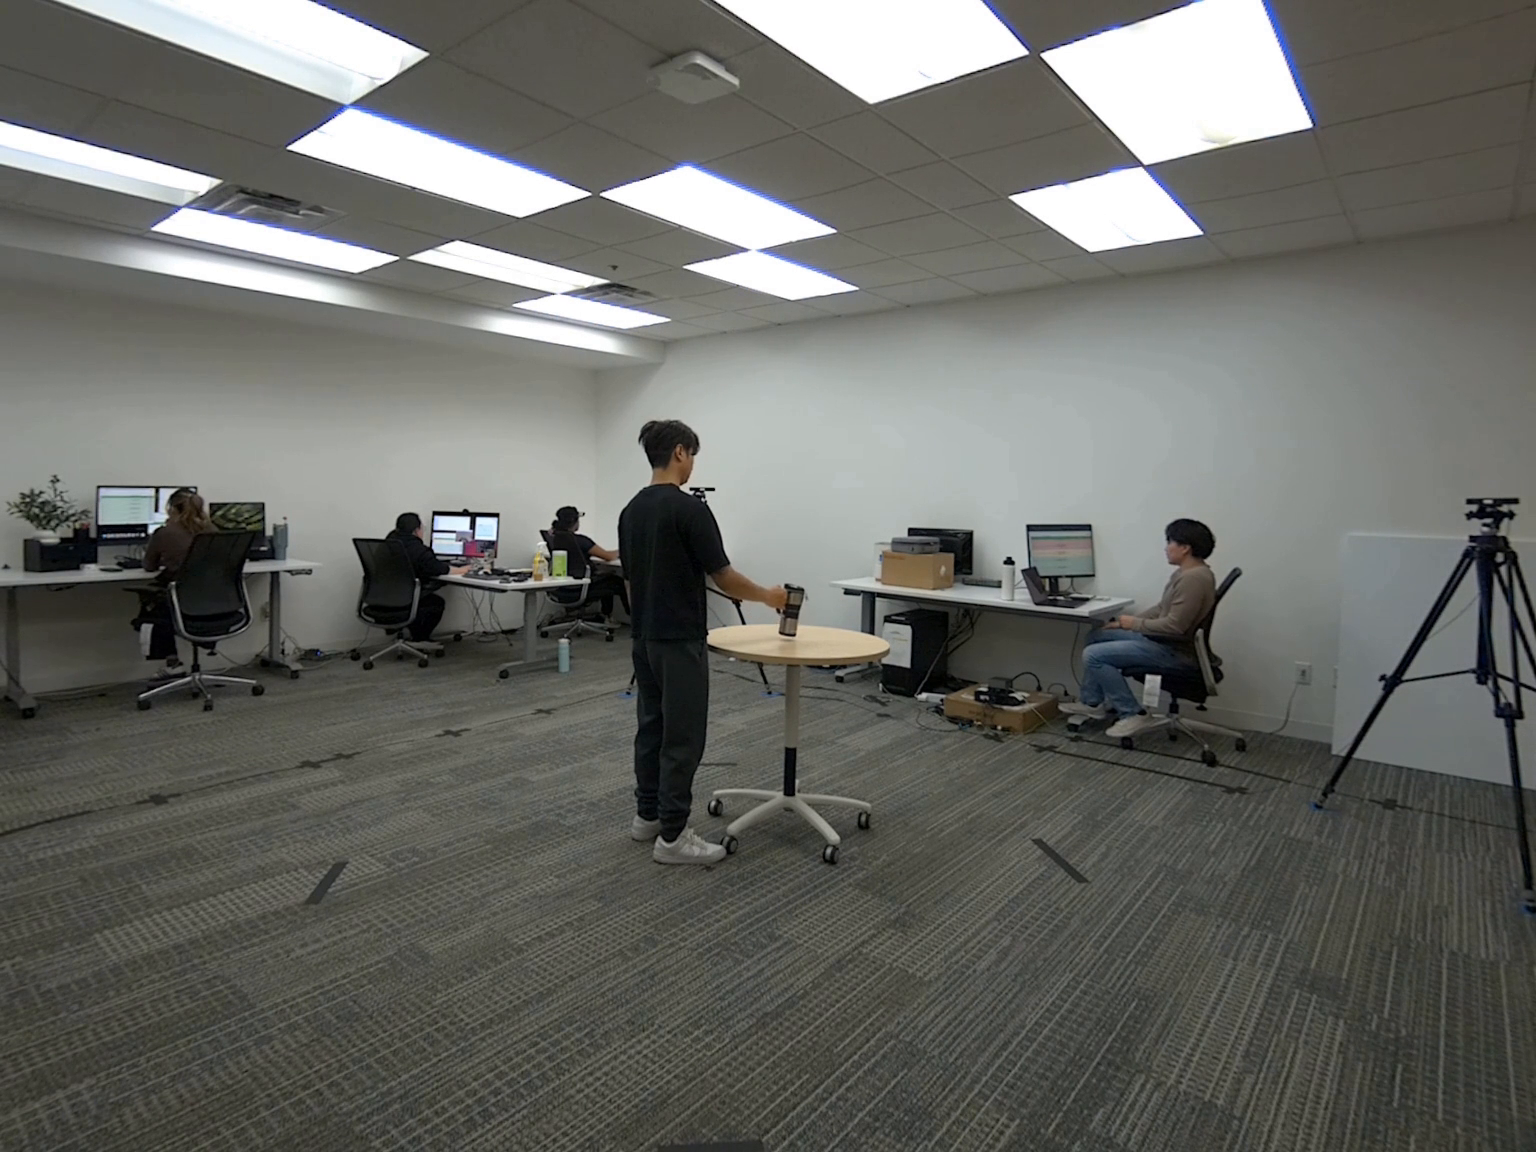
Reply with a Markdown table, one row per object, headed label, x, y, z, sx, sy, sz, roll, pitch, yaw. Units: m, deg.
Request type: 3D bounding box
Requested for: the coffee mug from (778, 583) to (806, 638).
| label | x | y | z | sx | sy | sz | roll | pitch | yaw |
| --- | --- | --- | --- | --- | --- | --- | --- | --- | --- |
| coffee mug | 0.065 | 0.130 | 3.447 | 0.126 | 0.201 | 0.085 | 13 | 10 | 32 |
